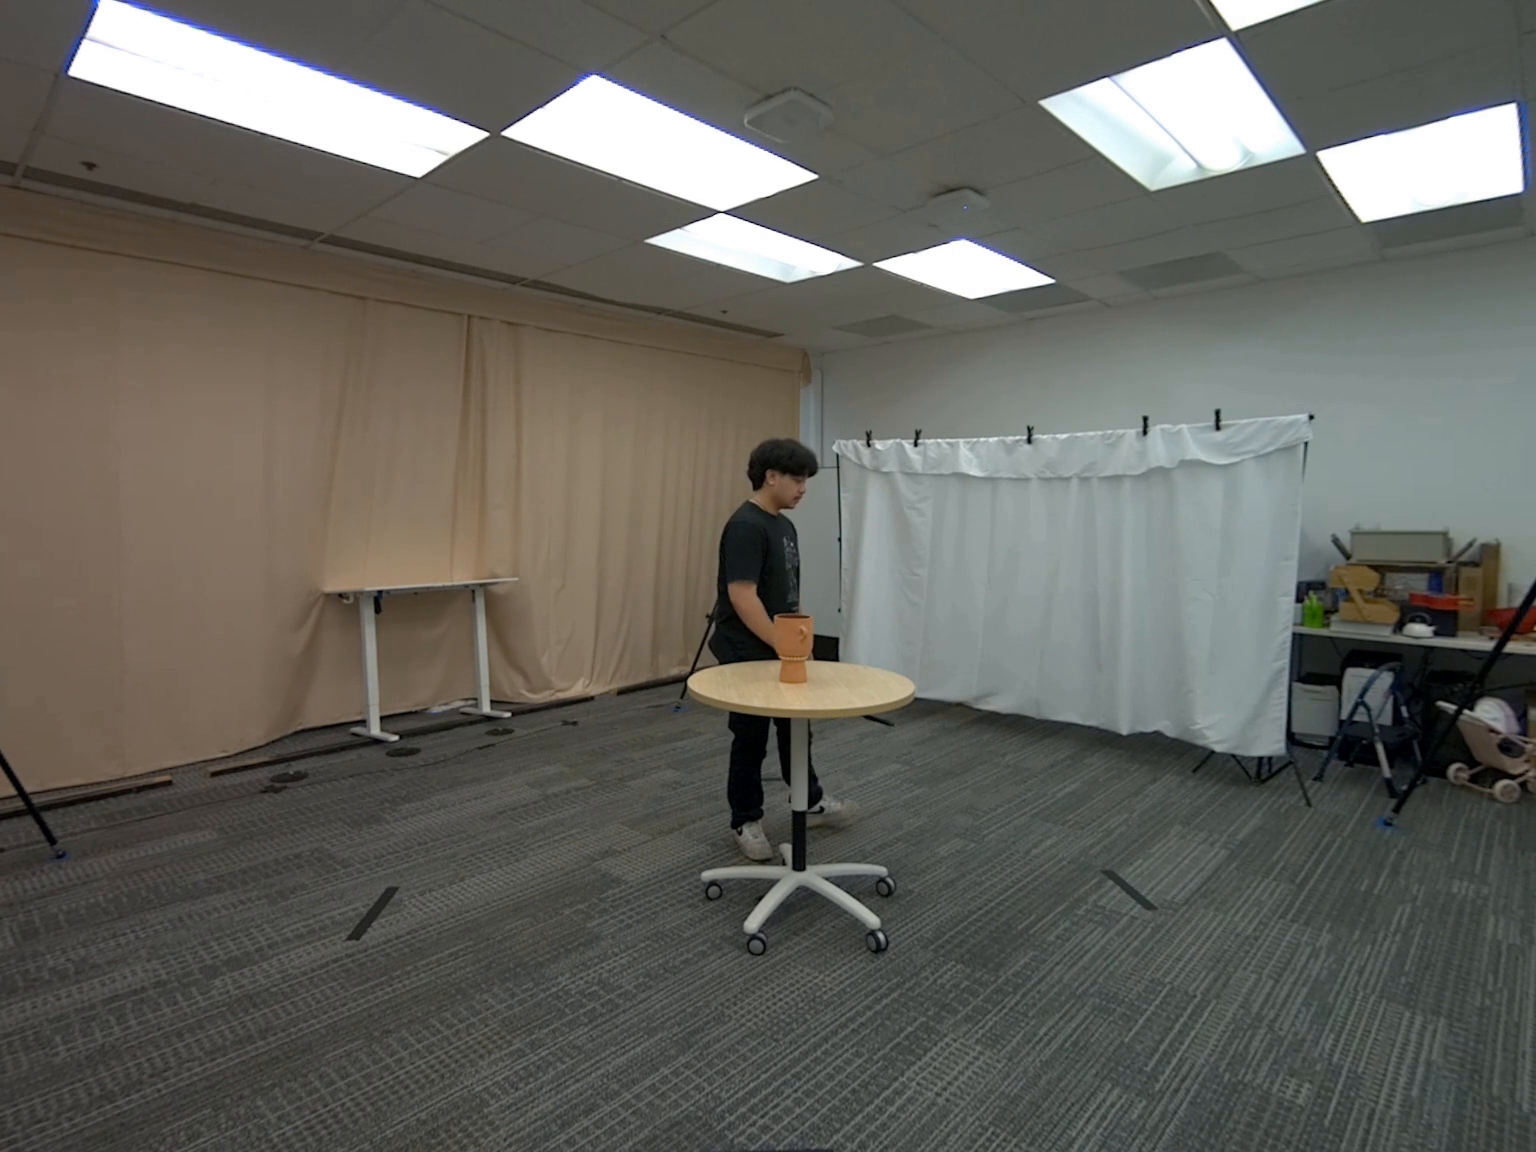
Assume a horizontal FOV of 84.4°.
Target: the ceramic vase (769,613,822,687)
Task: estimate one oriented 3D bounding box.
[{"bbox_3d":[0.093,0.245,2.876,0.137,0.219,0.156,2,4,19],"label":"ceramic vase"}]
